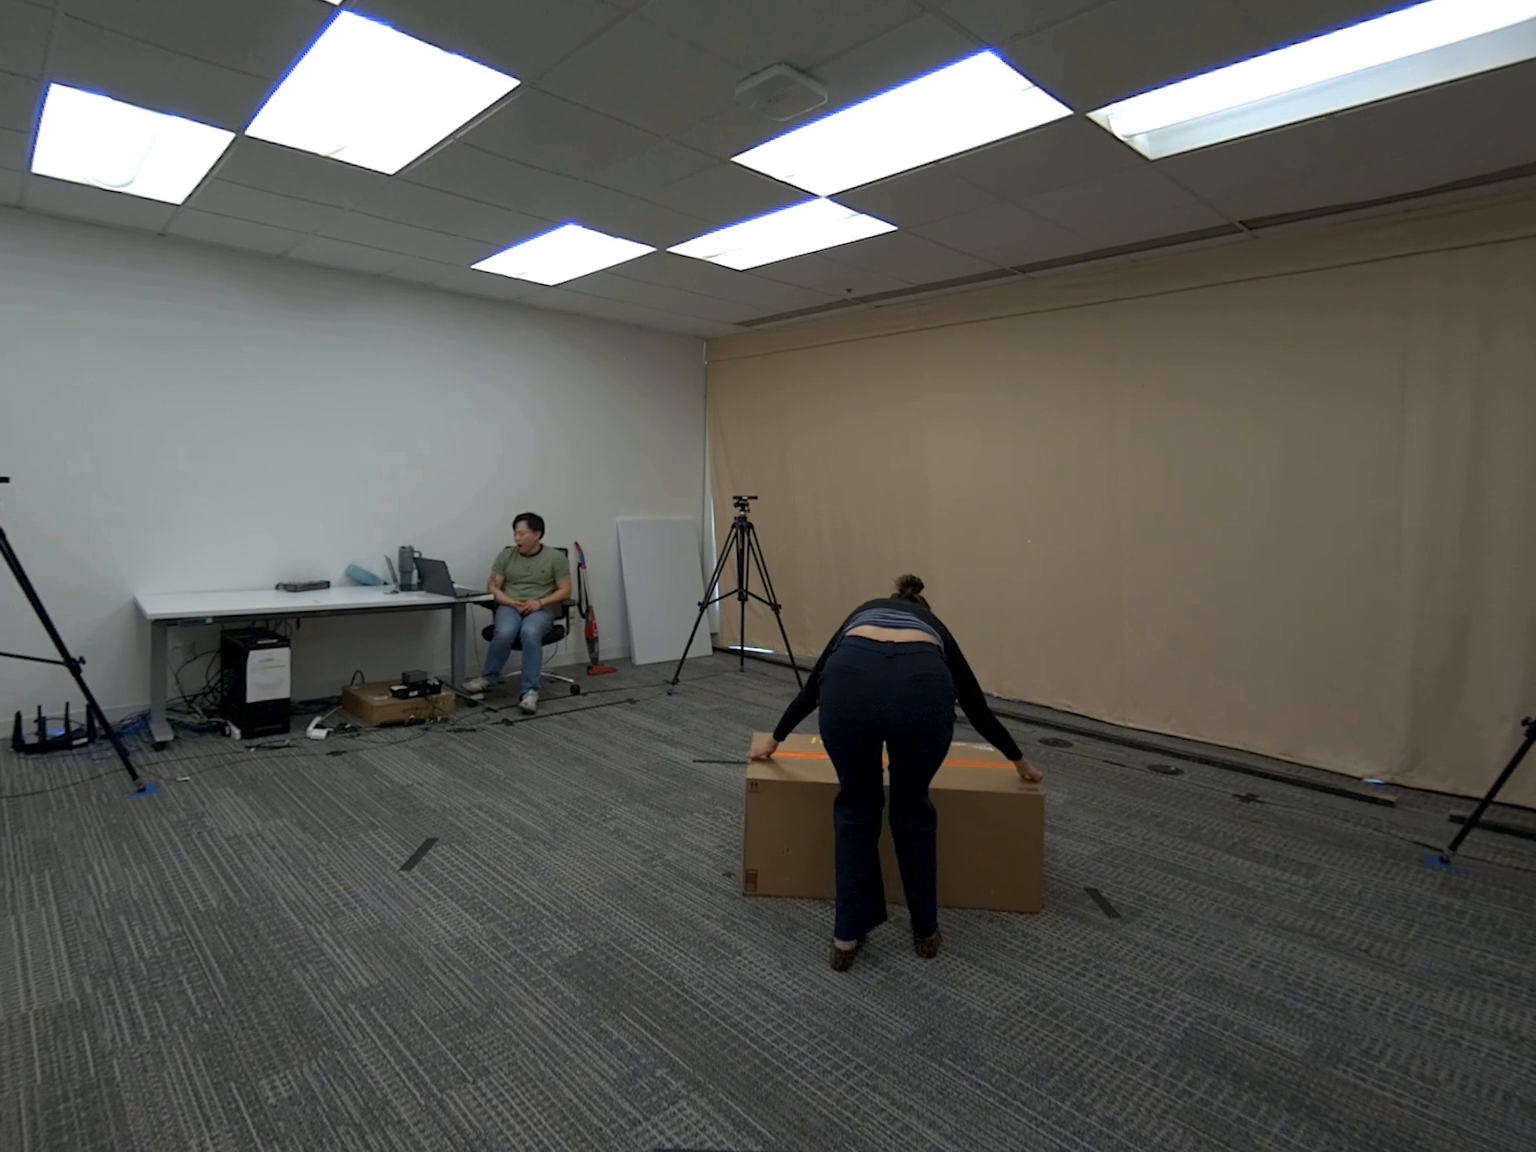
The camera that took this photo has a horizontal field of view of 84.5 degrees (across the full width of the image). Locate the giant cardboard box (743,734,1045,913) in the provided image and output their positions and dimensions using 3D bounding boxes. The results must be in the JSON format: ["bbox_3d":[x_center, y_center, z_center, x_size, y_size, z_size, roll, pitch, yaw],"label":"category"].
[{"bbox_3d":[0.428,0.895,3.175,1.029,0.425,0.577,2,4,4],"label":"giant cardboard box"}]
